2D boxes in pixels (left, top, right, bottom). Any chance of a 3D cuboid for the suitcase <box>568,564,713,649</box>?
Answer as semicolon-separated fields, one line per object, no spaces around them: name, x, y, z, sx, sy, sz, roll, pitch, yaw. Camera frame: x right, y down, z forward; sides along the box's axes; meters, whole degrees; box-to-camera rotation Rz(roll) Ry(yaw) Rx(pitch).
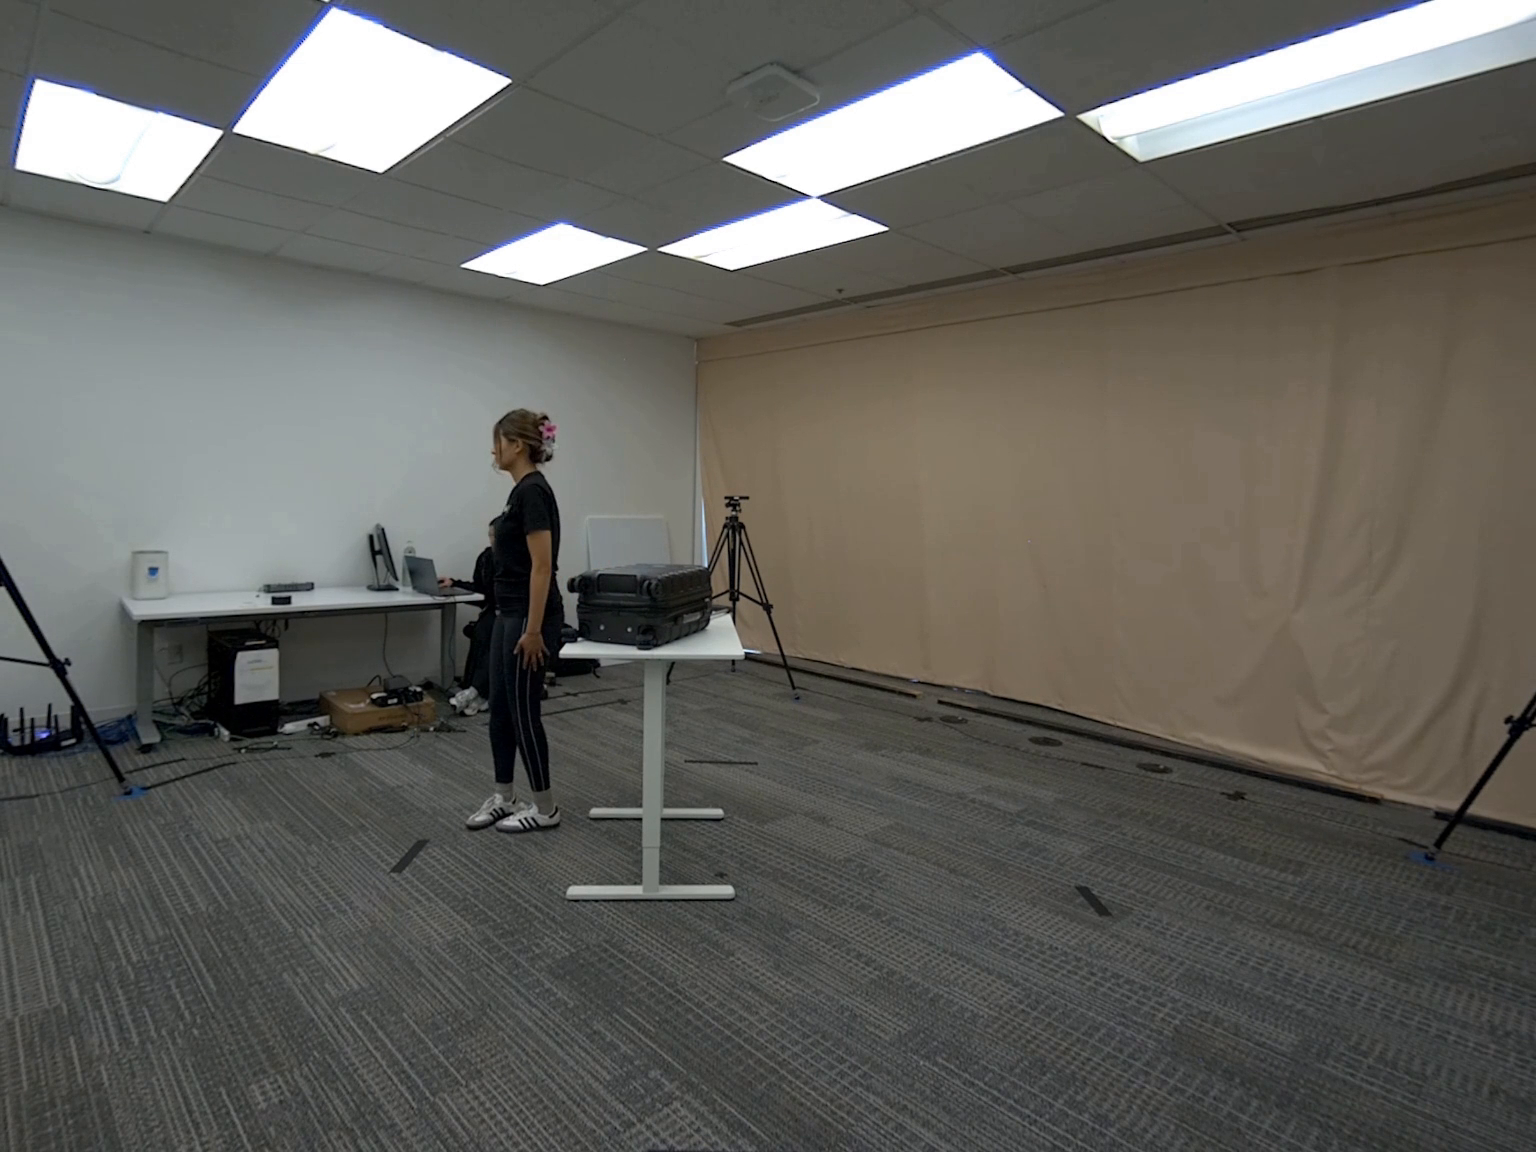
suitcase;-0.380;0.079;3.262;0.390;0.256;0.967;1;6;18
